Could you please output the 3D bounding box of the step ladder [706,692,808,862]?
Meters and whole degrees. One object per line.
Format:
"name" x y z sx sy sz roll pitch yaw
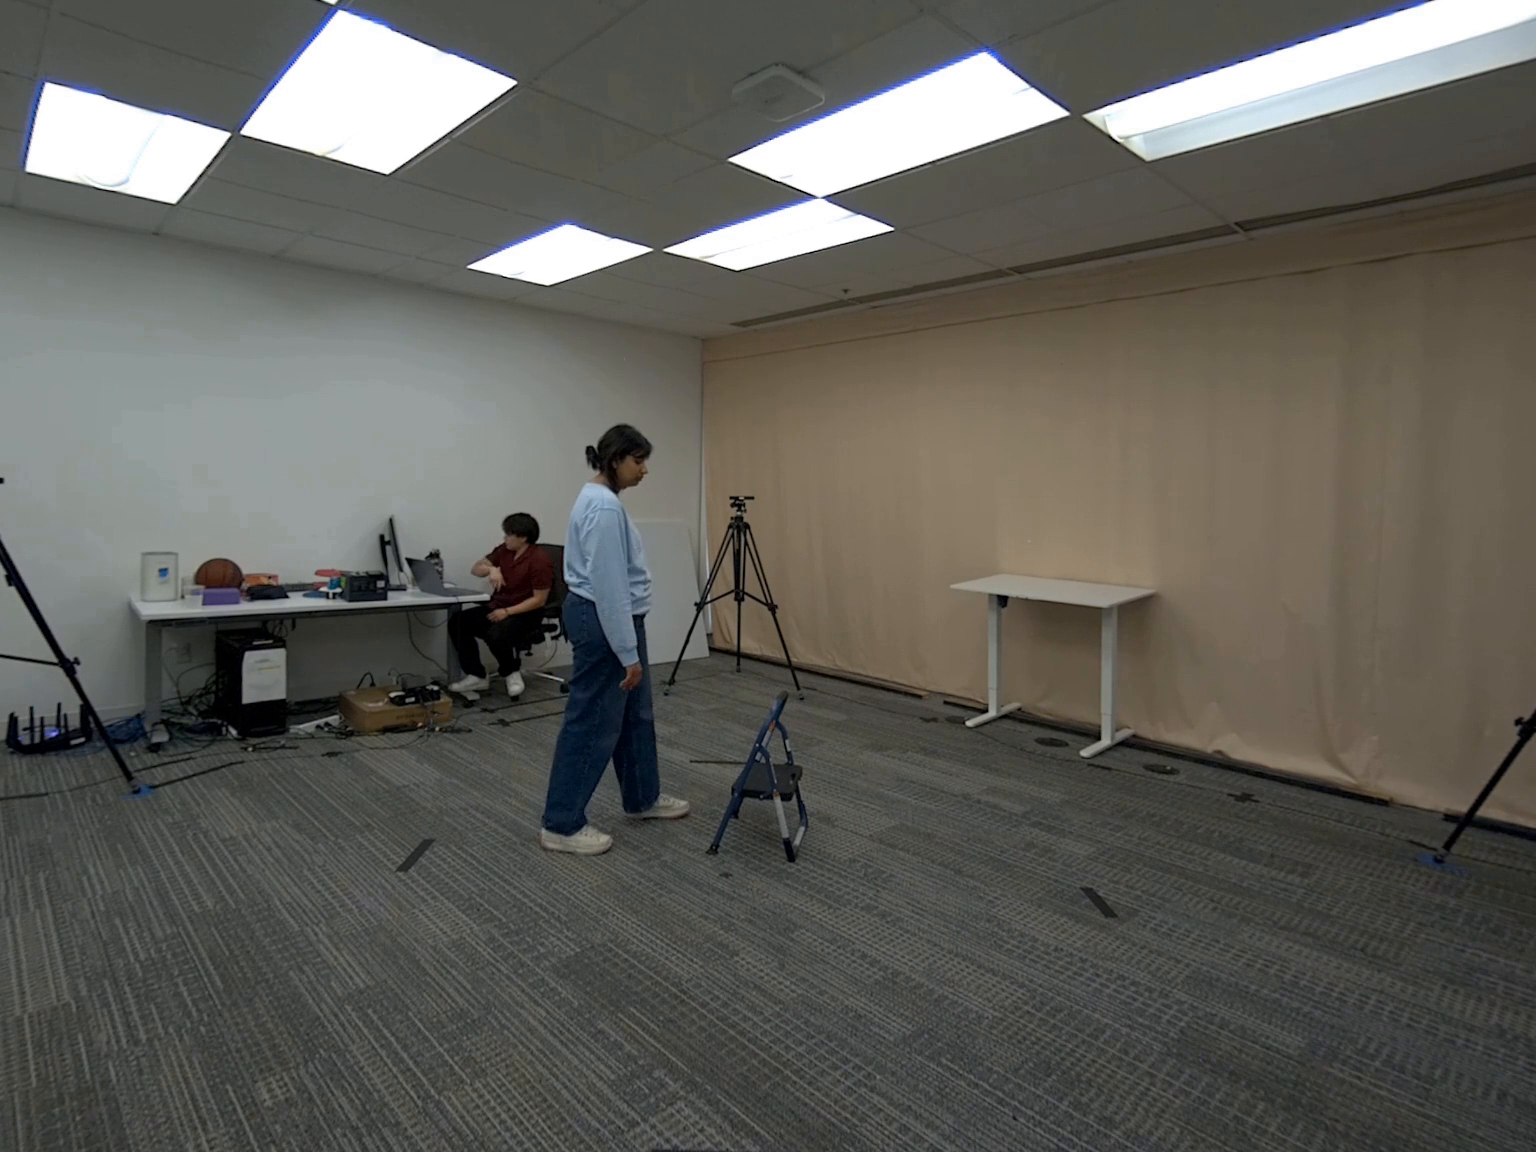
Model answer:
"step ladder" -0.030 0.775 3.441 0.352 0.605 0.427 2 3 11
